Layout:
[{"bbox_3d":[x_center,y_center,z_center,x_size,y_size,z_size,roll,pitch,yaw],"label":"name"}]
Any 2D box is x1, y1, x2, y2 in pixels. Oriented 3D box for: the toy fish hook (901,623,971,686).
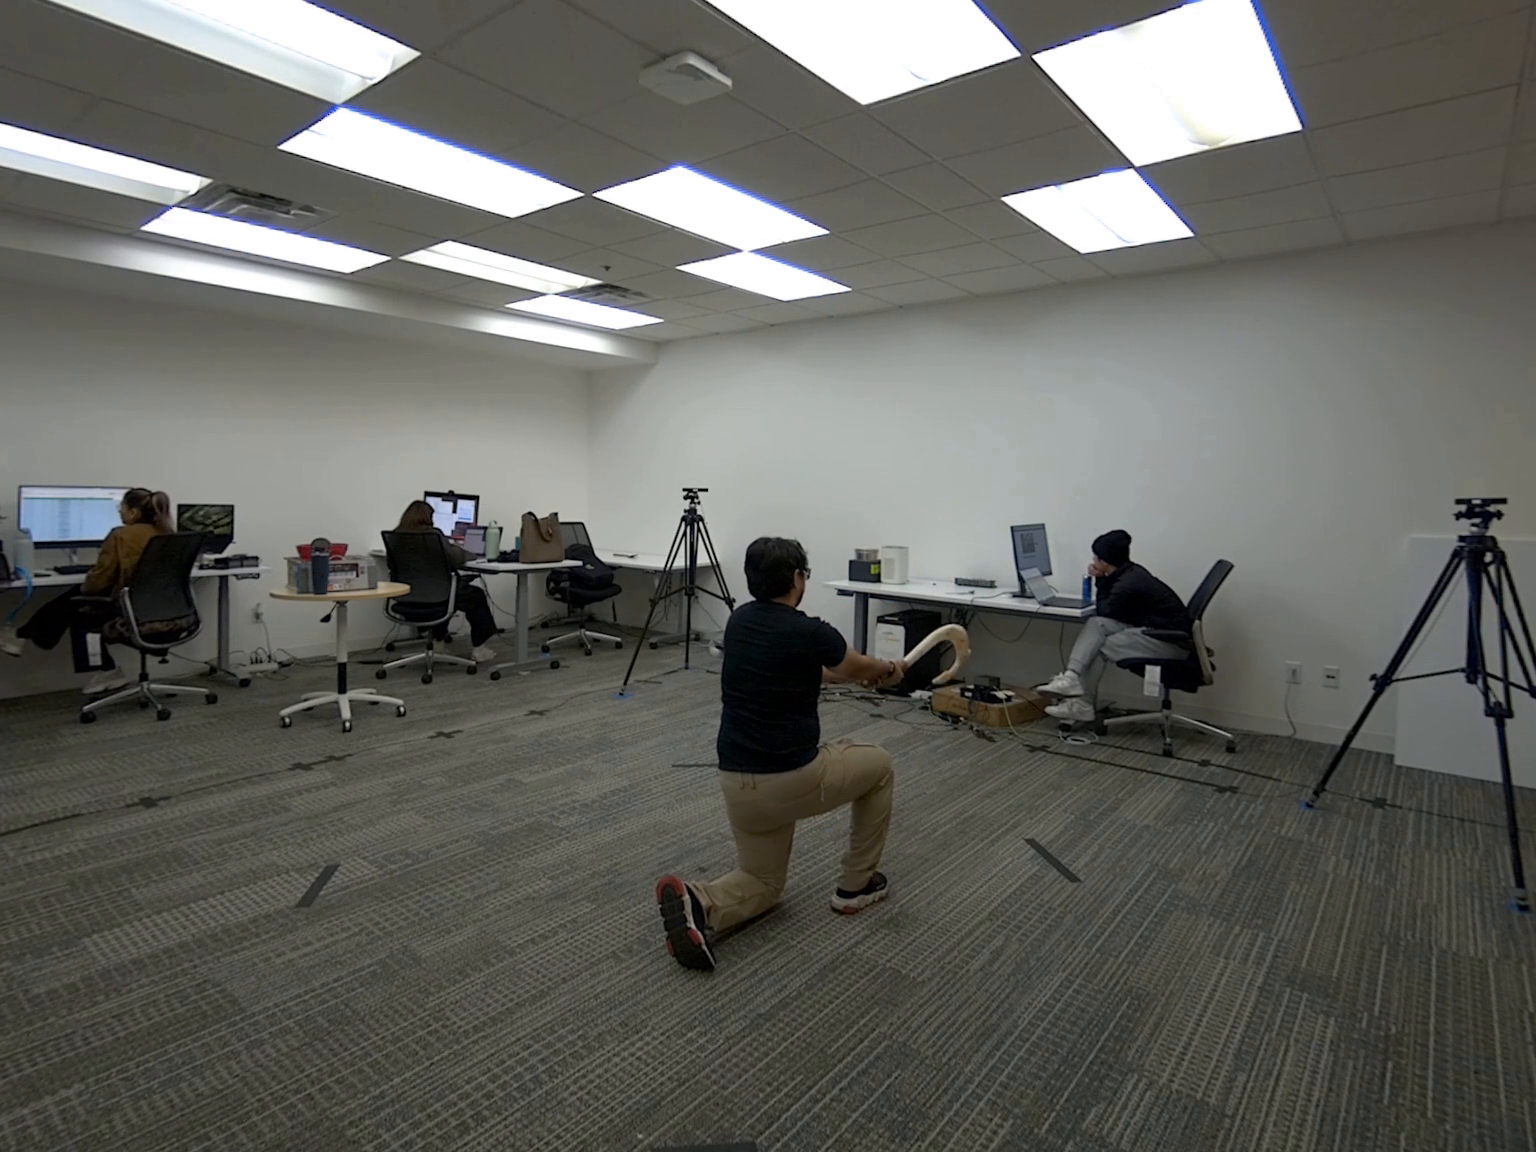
[{"bbox_3d":[0.570,0.352,3.274,0.501,0.220,0.050,-24,17,-20],"label":"toy fish hook"}]
